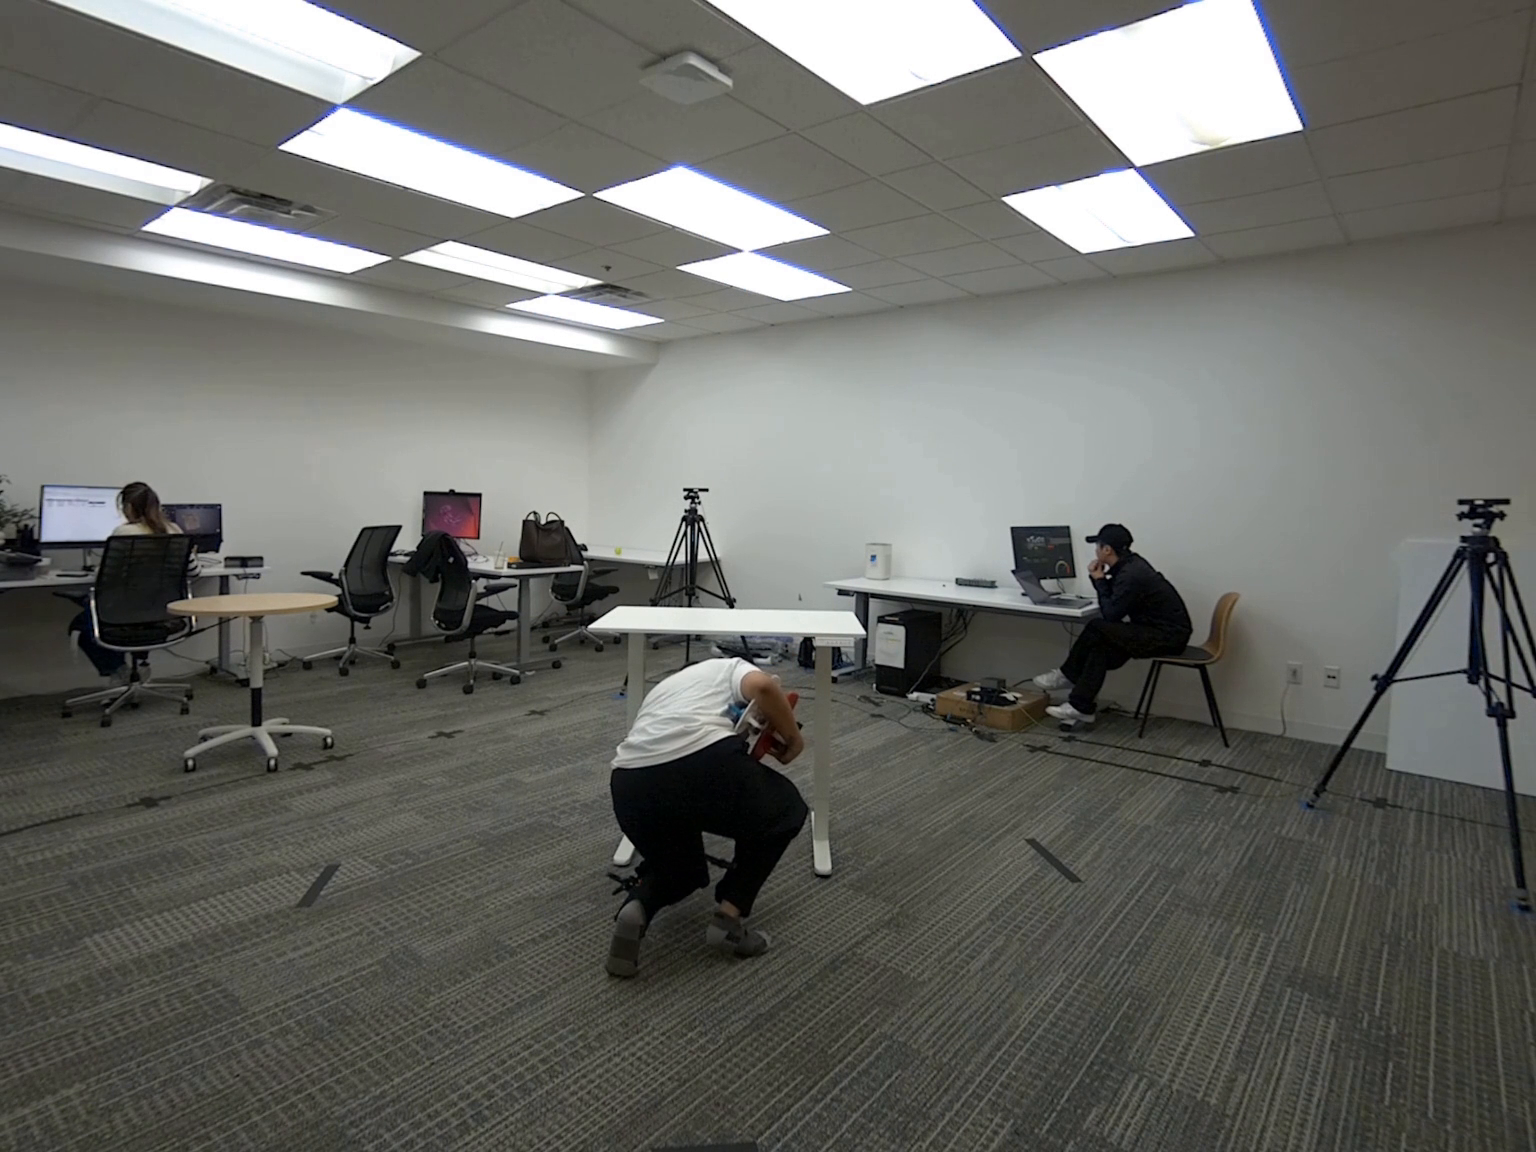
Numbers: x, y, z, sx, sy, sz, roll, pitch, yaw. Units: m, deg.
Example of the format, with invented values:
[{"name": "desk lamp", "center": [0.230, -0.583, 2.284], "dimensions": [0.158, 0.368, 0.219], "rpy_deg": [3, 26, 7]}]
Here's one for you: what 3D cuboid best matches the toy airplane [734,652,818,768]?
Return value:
[{"name": "toy airplane", "center": [-0.017, 0.437, 2.655], "dimensions": [0.250, 0.249, 0.163], "rpy_deg": [-36, 43, -18]}]
